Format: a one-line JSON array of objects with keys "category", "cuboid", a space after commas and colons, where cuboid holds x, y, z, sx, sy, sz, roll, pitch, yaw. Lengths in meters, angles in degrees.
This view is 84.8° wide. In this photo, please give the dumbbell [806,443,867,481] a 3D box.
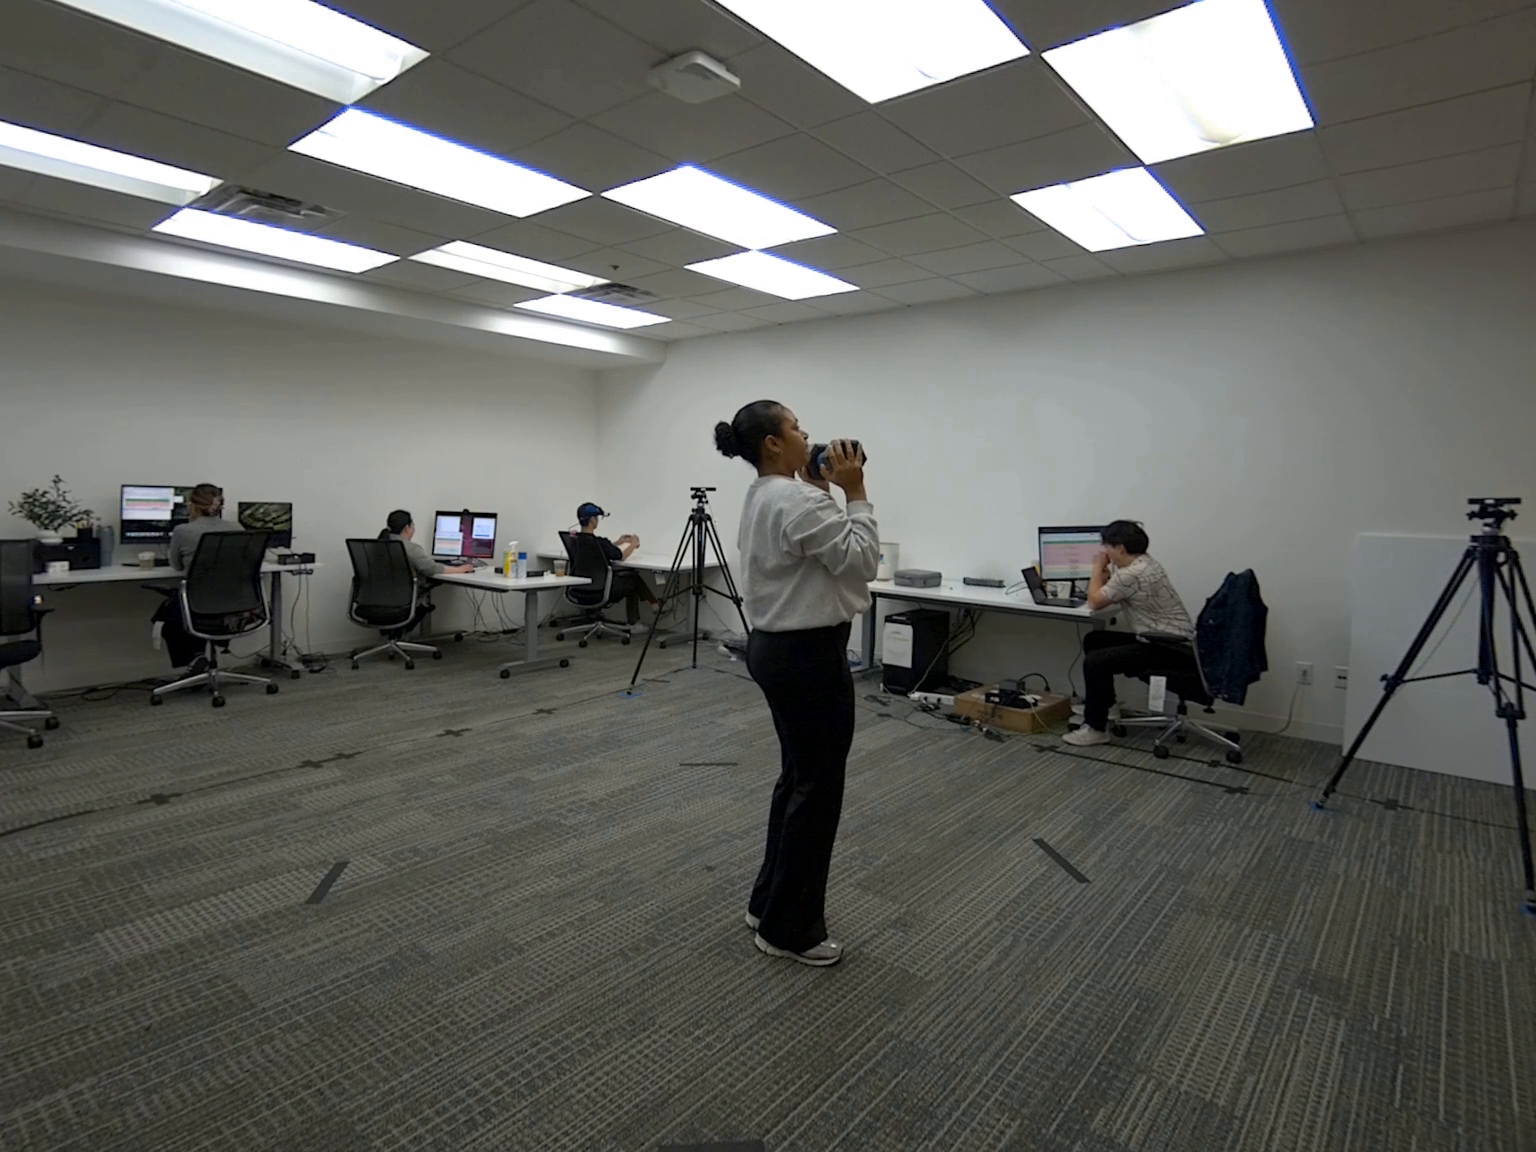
[{"category": "dumbbell", "cuboid": [0.174, -0.363, 2.559, 0.107, 0.123, 0.298, 44, -5, -12]}]
